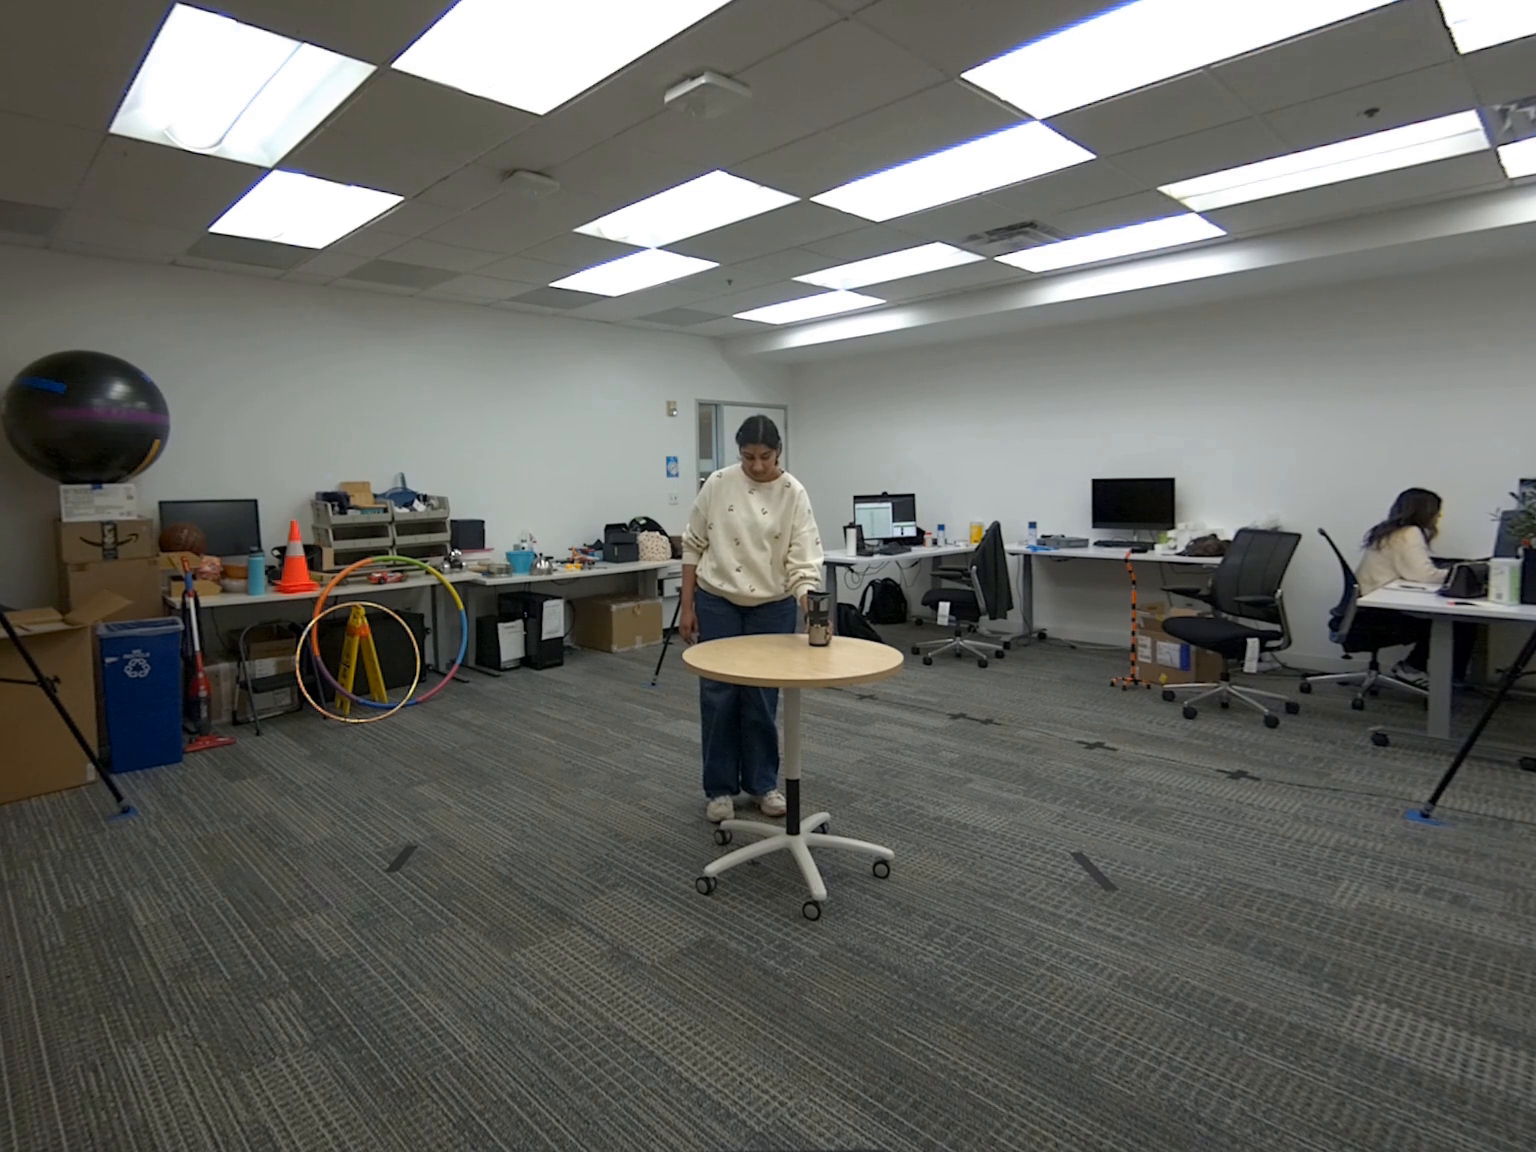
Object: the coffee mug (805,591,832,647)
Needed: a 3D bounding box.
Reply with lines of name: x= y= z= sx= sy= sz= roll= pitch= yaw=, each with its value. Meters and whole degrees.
coffee mug: x=0.175 y=0.159 z=3.118 sx=0.090 sy=0.202 sz=0.119 roll=6 pitch=4 yaw=34
